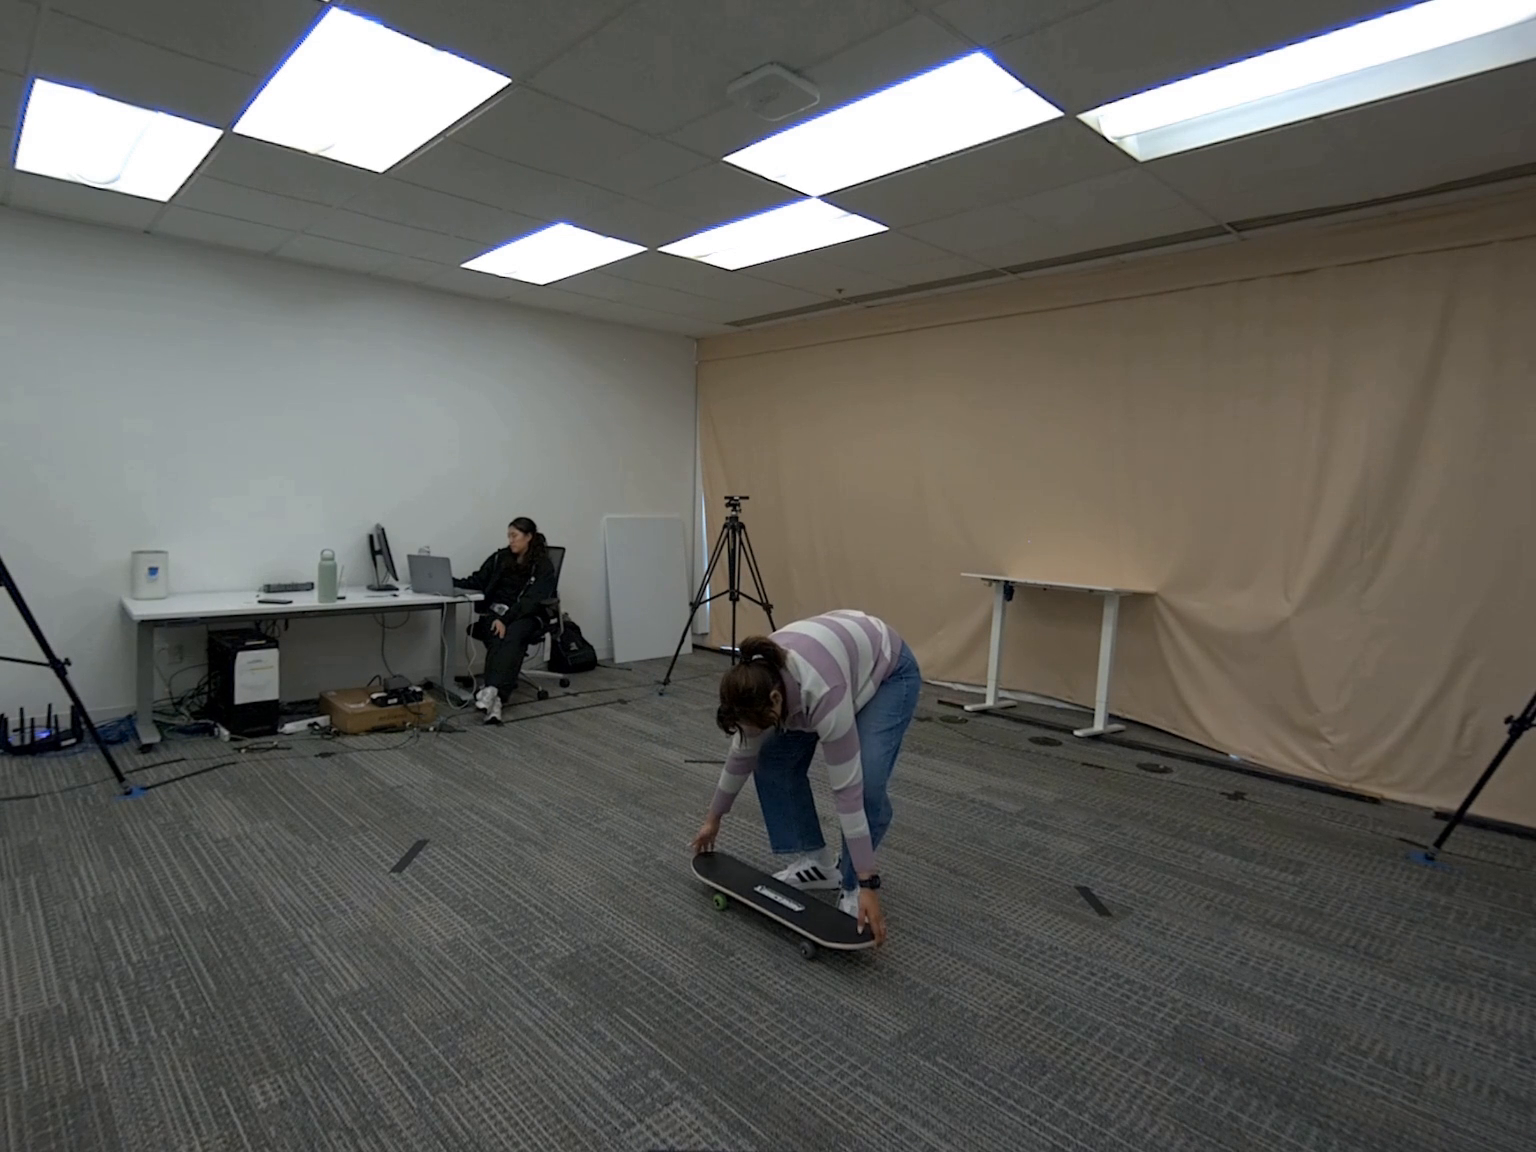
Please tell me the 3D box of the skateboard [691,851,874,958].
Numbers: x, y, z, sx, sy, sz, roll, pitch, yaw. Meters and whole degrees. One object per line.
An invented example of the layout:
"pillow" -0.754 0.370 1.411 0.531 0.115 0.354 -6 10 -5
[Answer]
"skateboard" 0.023 1.086 2.748 0.189 0.110 0.806 -3 7 -42
